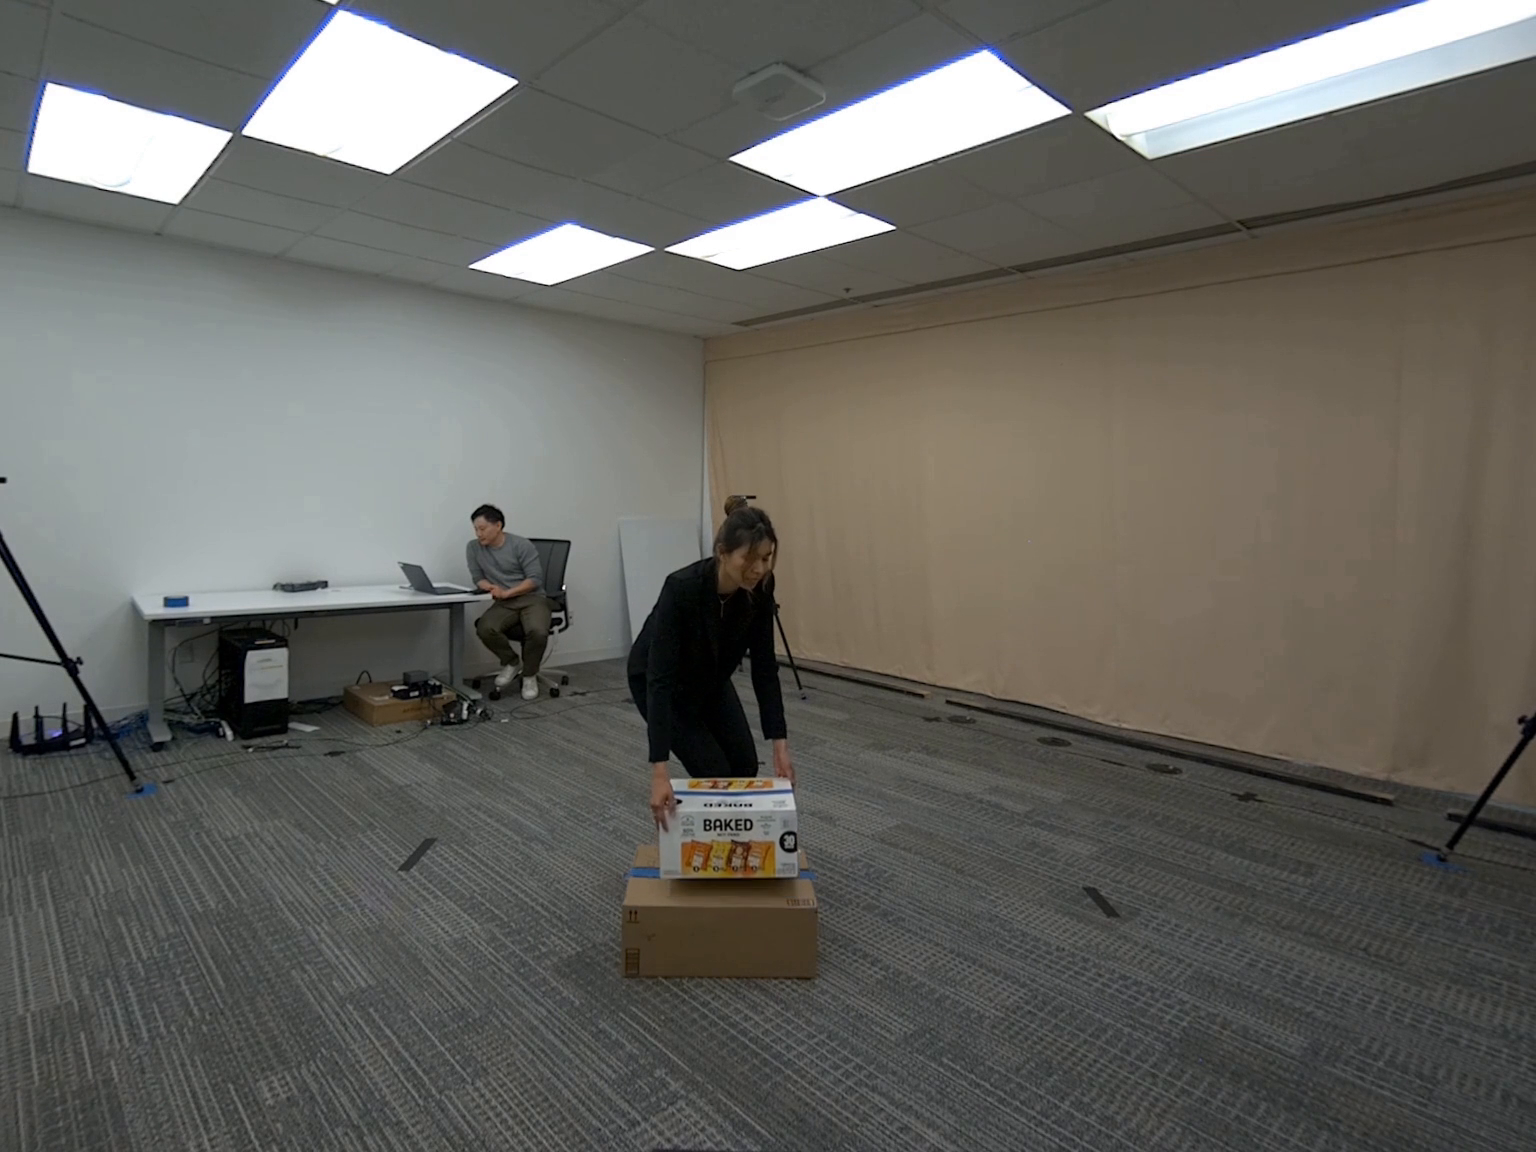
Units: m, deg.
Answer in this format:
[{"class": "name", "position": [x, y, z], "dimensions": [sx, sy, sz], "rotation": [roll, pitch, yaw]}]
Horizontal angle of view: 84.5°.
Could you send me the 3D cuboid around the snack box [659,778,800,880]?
[{"class": "snack box", "position": [-0.125, 0.774, 2.625], "dimensions": [0.405, 0.205, 0.340], "rotation": [-1, 2, 0]}]
